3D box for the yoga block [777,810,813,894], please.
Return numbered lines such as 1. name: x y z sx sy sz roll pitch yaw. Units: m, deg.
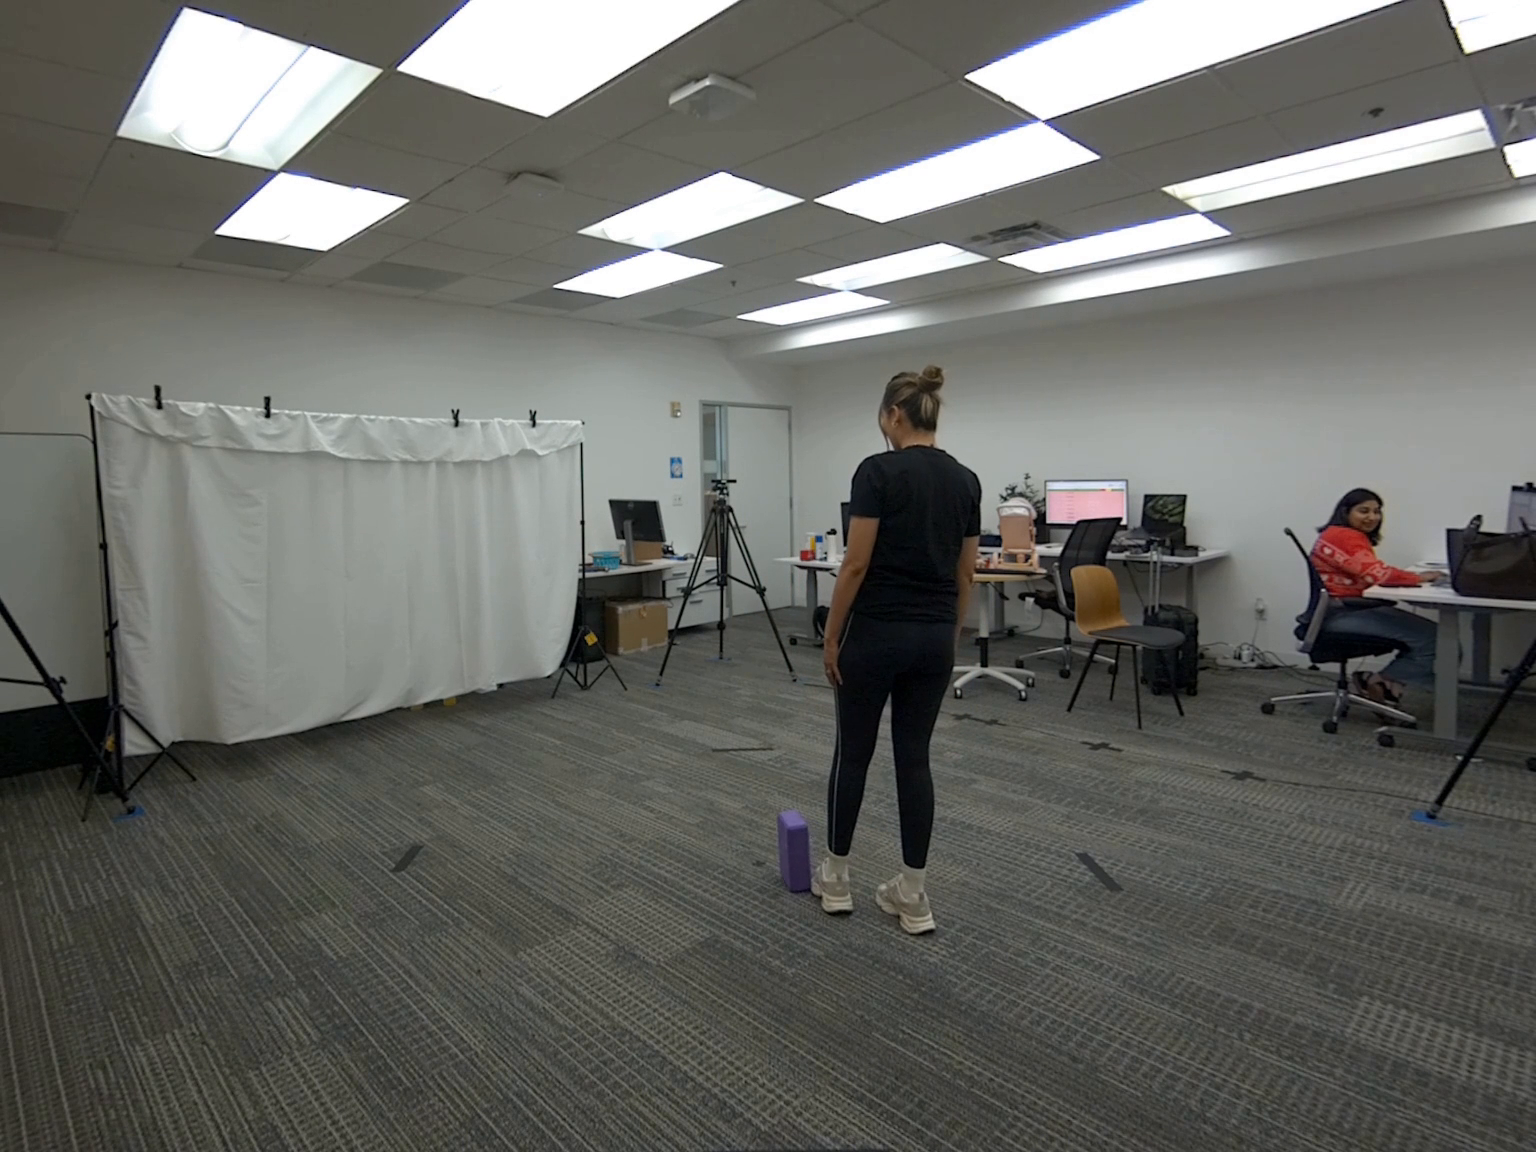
1. yoga block: 0.088 0.948 2.947 0.076 0.228 0.150 -3 4 -8
